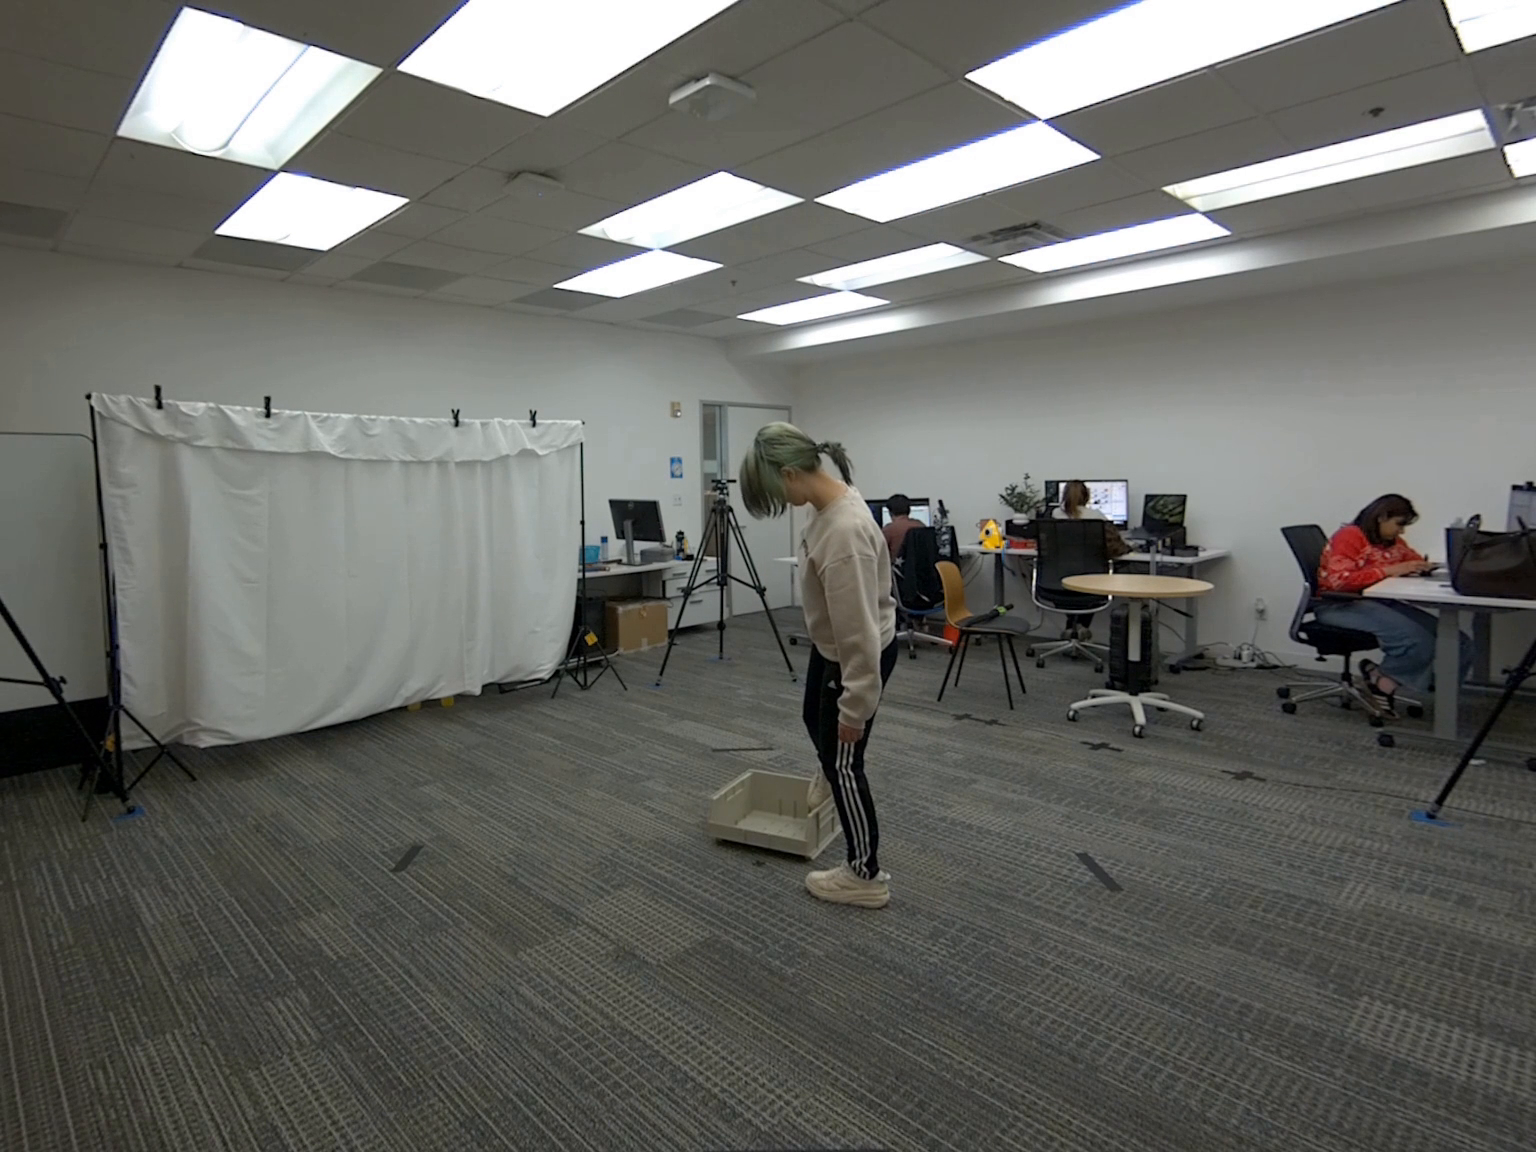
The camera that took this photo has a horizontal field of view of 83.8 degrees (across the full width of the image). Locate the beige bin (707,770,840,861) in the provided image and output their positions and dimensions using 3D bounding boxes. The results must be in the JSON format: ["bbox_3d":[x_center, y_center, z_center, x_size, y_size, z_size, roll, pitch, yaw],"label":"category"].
[{"bbox_3d":[0.036,0.926,3.338,0.433,0.188,0.369,2,6,27],"label":"beige bin"}]
